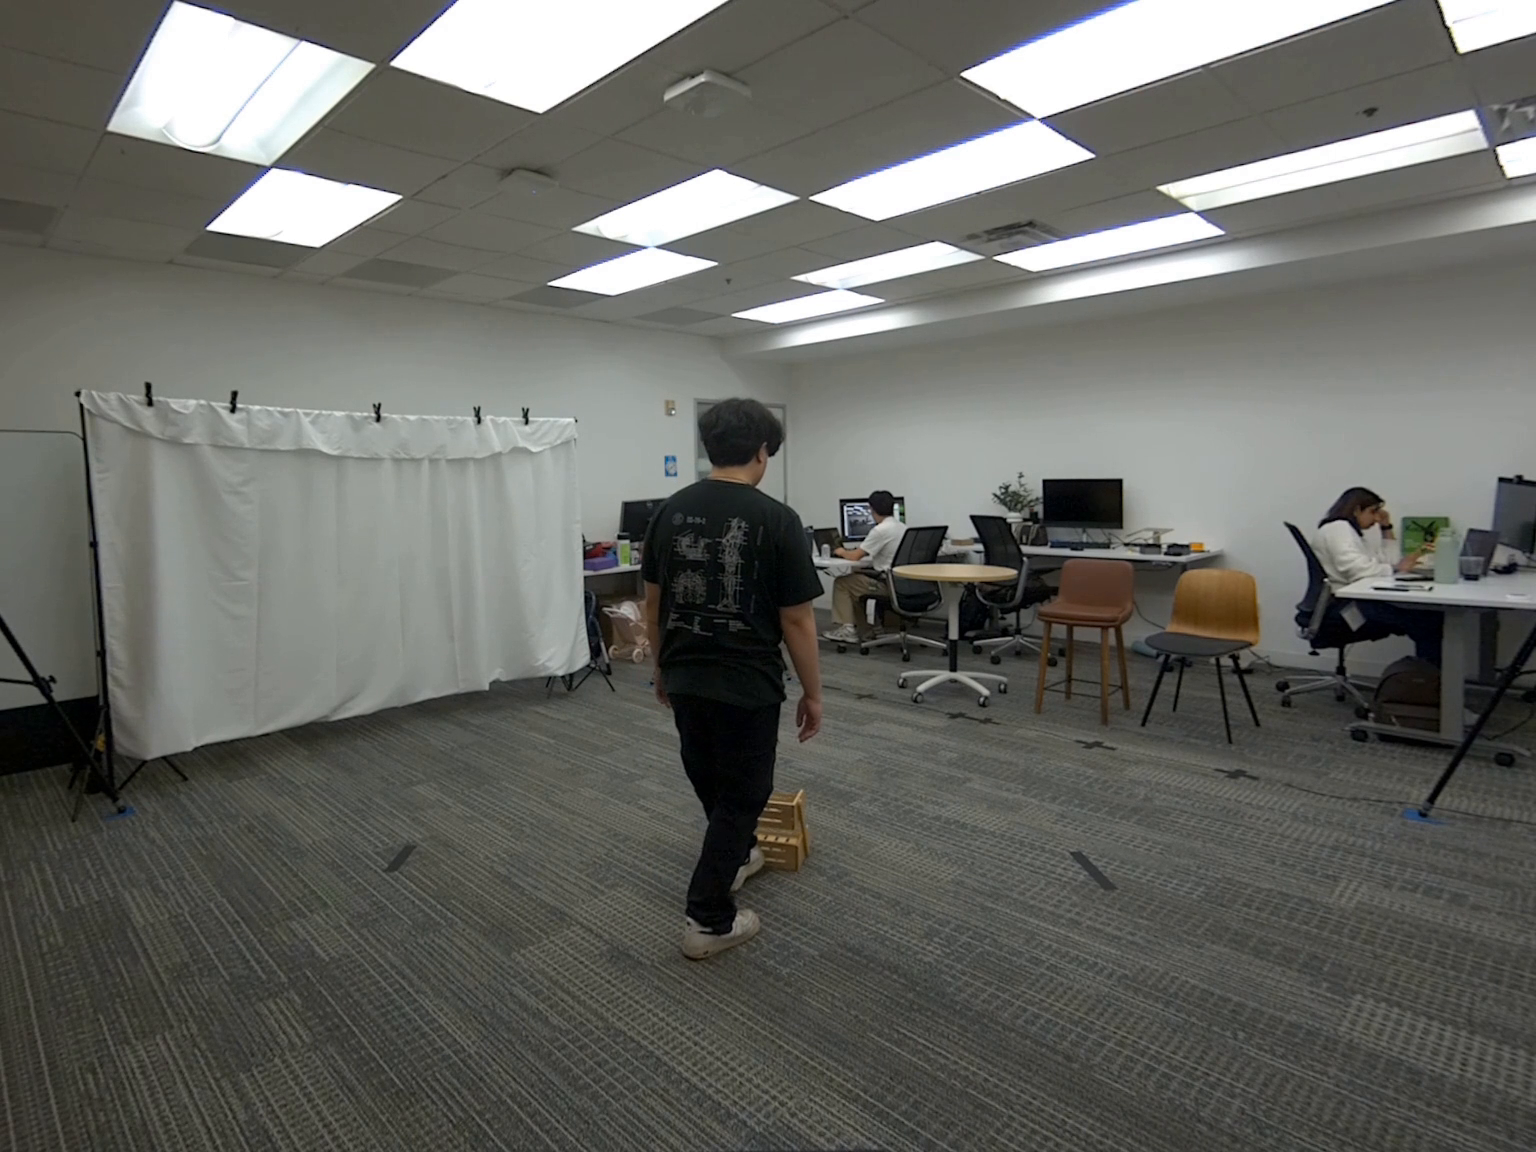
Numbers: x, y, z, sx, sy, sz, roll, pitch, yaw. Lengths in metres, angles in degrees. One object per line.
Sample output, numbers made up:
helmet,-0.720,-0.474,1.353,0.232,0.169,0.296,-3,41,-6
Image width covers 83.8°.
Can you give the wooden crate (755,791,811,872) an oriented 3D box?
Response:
wooden crate,-0.012,0.903,3.172,0.330,0.272,0.299,0,6,16
